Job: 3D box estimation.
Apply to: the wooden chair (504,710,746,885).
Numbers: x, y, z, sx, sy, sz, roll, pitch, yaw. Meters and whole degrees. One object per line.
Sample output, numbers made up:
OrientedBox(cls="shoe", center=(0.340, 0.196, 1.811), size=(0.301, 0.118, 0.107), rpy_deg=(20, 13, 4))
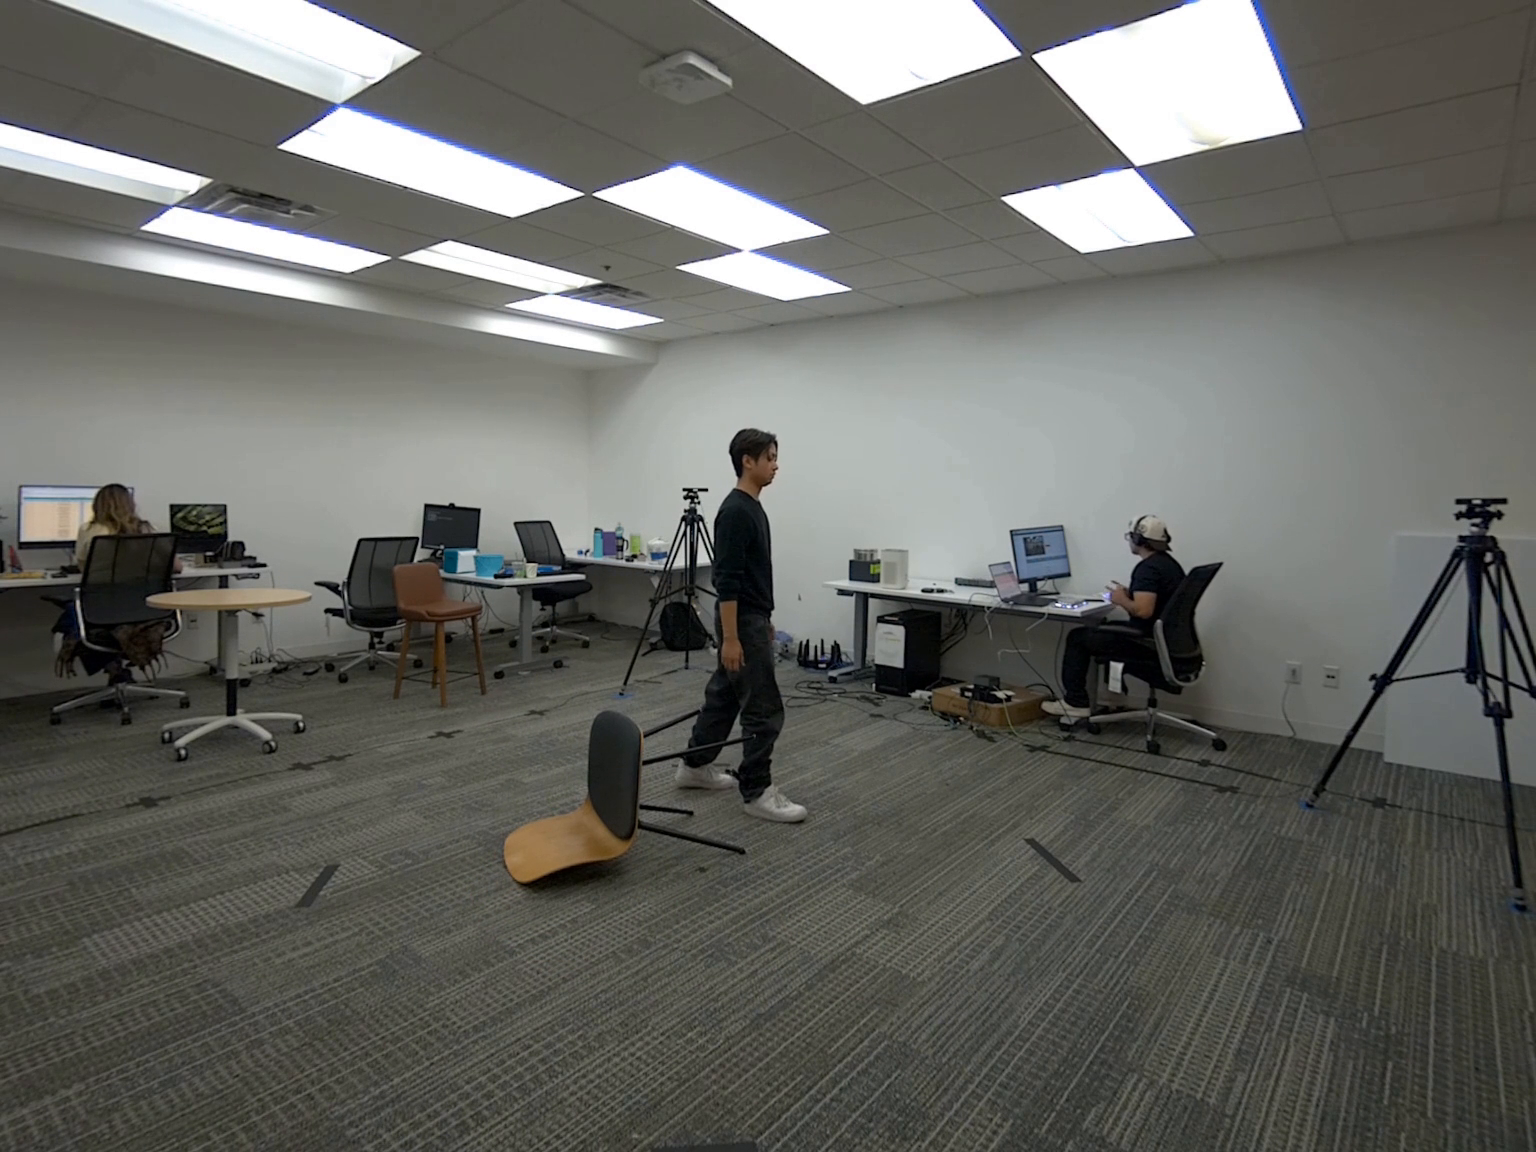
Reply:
OrientedBox(cls="wooden chair", center=(-0.559, 0.793, 3.231), size=(0.854, 0.521, 0.492), rpy_deg=(-2, 5, -30))
